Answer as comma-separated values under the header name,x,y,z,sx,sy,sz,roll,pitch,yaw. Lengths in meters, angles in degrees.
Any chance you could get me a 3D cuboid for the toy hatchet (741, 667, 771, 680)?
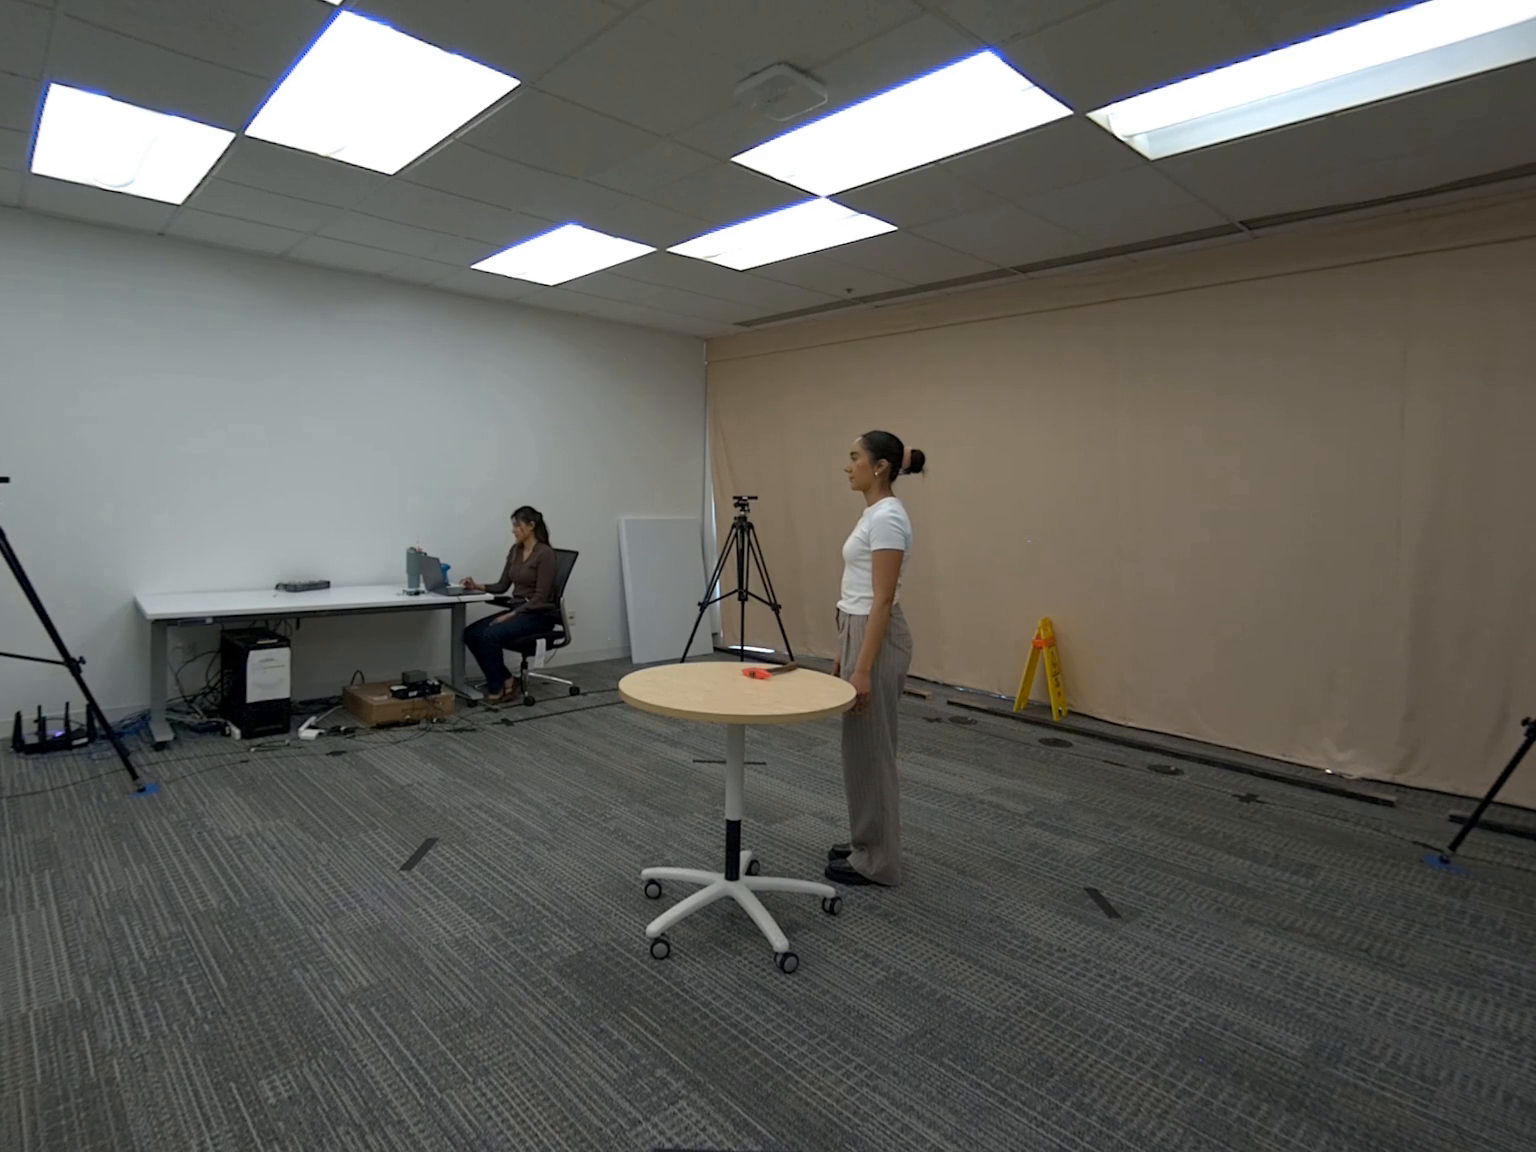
name,x,y,z,sx,sy,sz,roll,pitch,yaw
toy hatchet,0.000,0.328,2.952,0.133,0.029,0.265,-1,2,24
